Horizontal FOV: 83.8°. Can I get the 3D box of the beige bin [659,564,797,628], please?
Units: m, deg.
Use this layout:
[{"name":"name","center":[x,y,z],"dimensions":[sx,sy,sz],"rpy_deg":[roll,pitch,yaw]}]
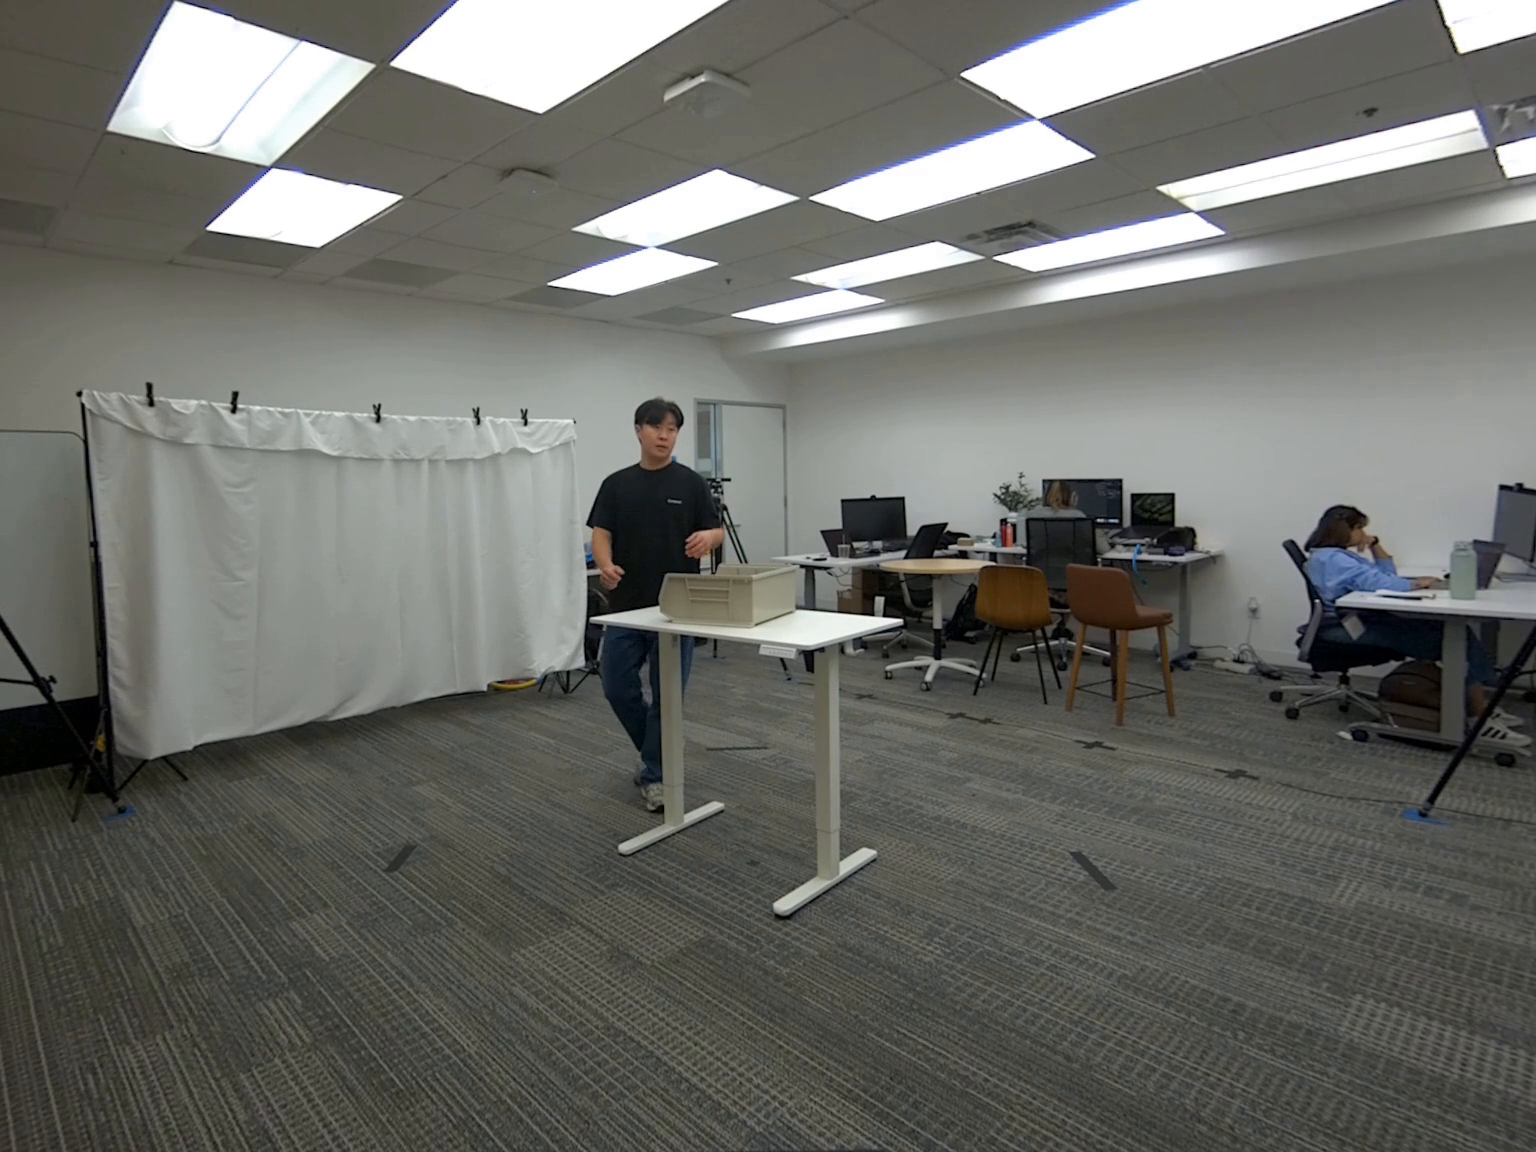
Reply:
[{"name":"beige bin","center":[-0.136,0.067,3.165],"dimensions":[0.387,0.188,0.414],"rpy_deg":[3,6,27]}]
